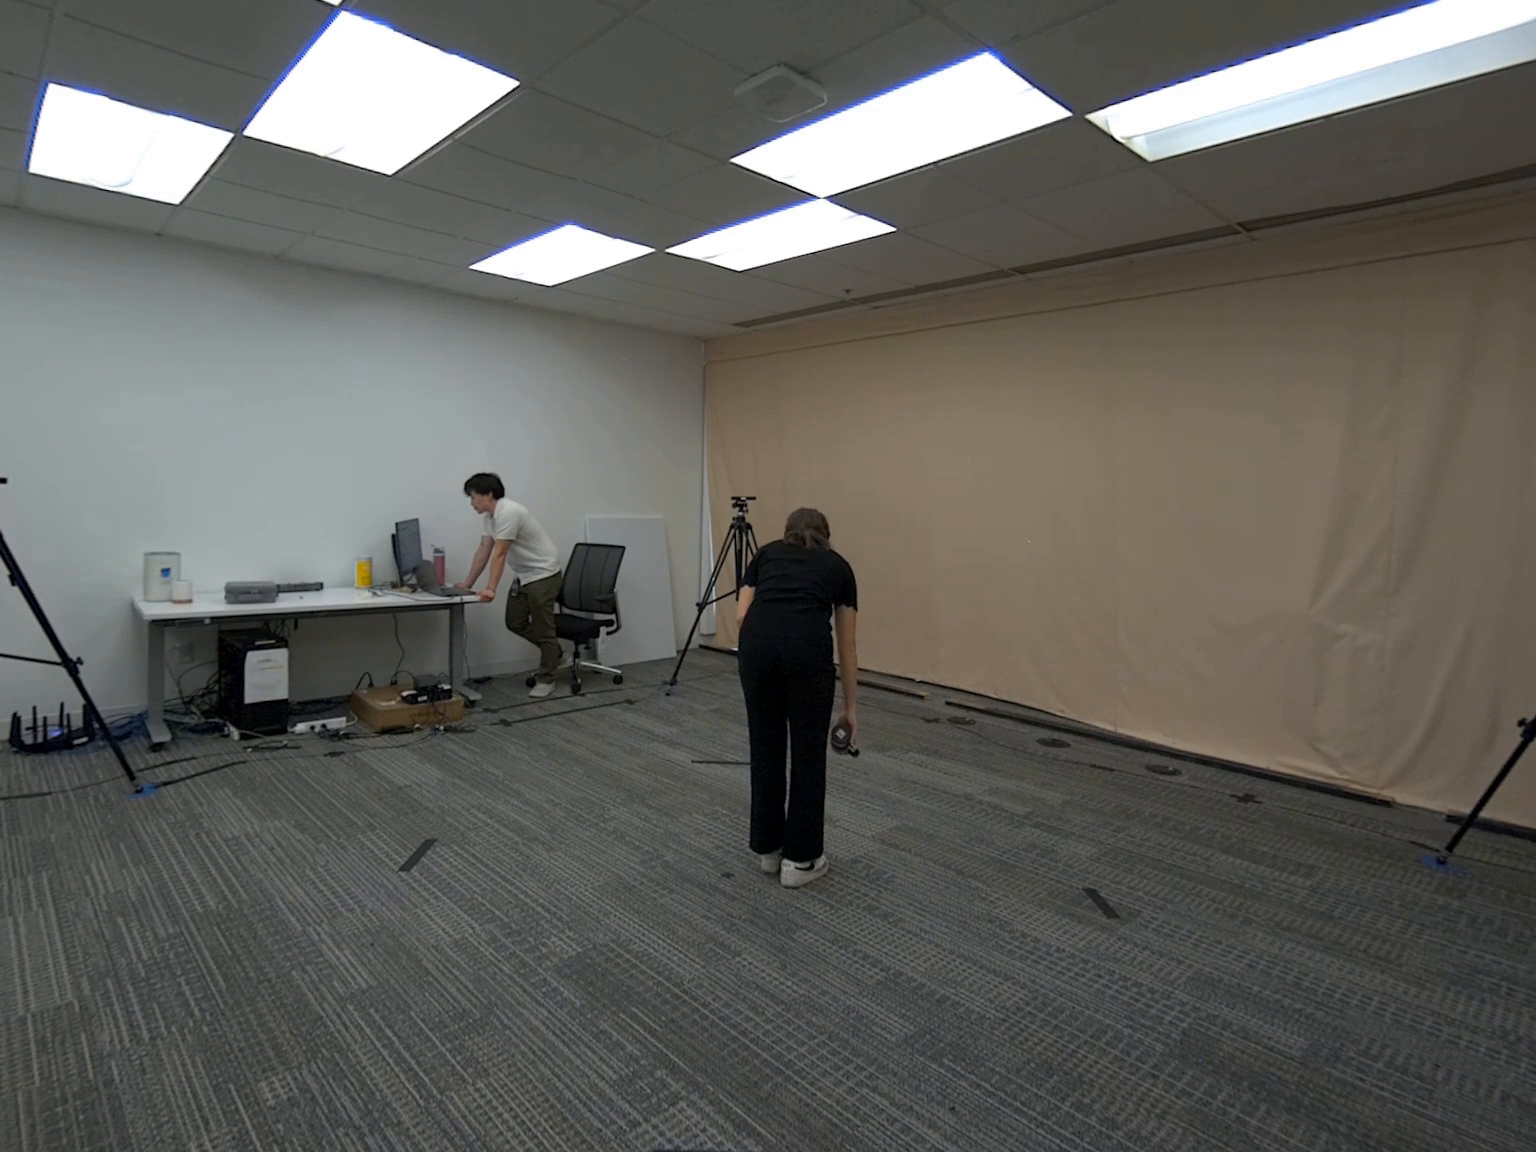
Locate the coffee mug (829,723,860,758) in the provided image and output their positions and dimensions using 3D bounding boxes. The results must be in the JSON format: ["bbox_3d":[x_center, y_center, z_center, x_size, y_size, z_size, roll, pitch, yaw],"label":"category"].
[{"bbox_3d":[0.288,0.629,3.175,0.124,0.088,0.199,32,-16,13],"label":"coffee mug"}]
